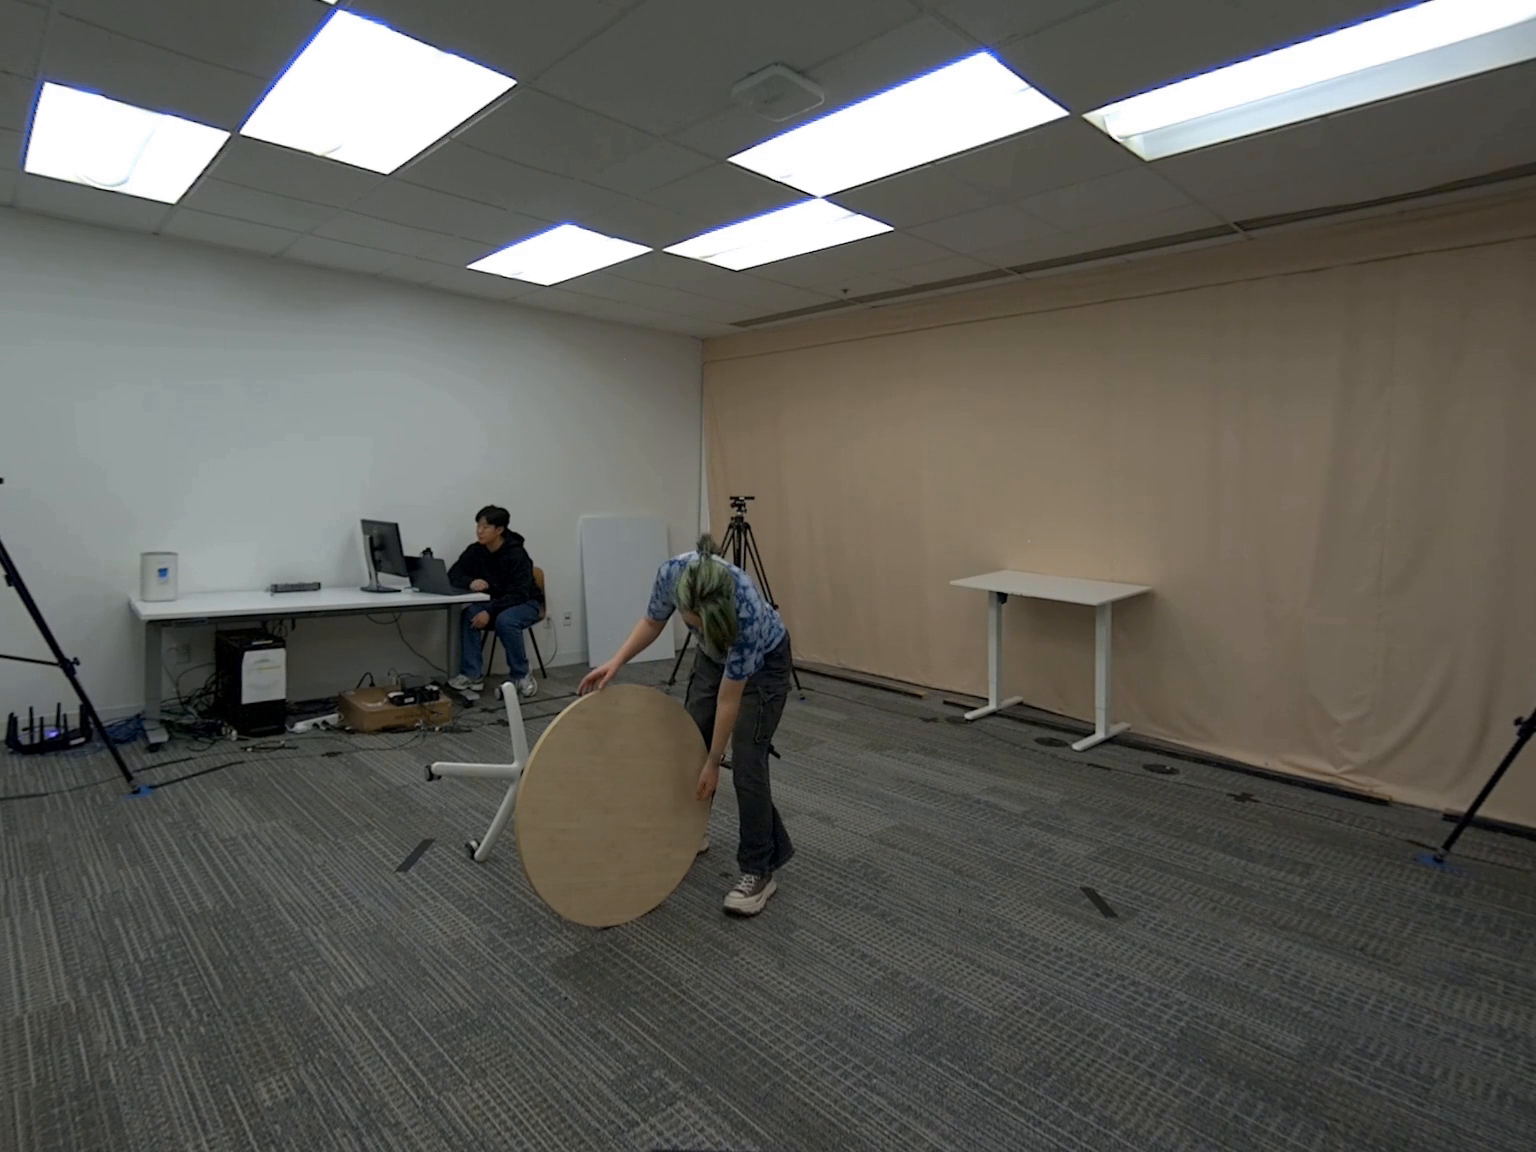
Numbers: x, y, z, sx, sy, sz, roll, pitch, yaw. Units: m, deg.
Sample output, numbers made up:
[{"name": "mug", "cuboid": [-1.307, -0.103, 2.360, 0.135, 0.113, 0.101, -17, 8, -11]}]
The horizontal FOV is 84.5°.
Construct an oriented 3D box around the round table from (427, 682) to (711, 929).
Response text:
[{"name": "round table", "cuboid": [-0.752, 0.751, 3.055, 0.746, 0.764, 0.811, -3, -1, -44]}]
